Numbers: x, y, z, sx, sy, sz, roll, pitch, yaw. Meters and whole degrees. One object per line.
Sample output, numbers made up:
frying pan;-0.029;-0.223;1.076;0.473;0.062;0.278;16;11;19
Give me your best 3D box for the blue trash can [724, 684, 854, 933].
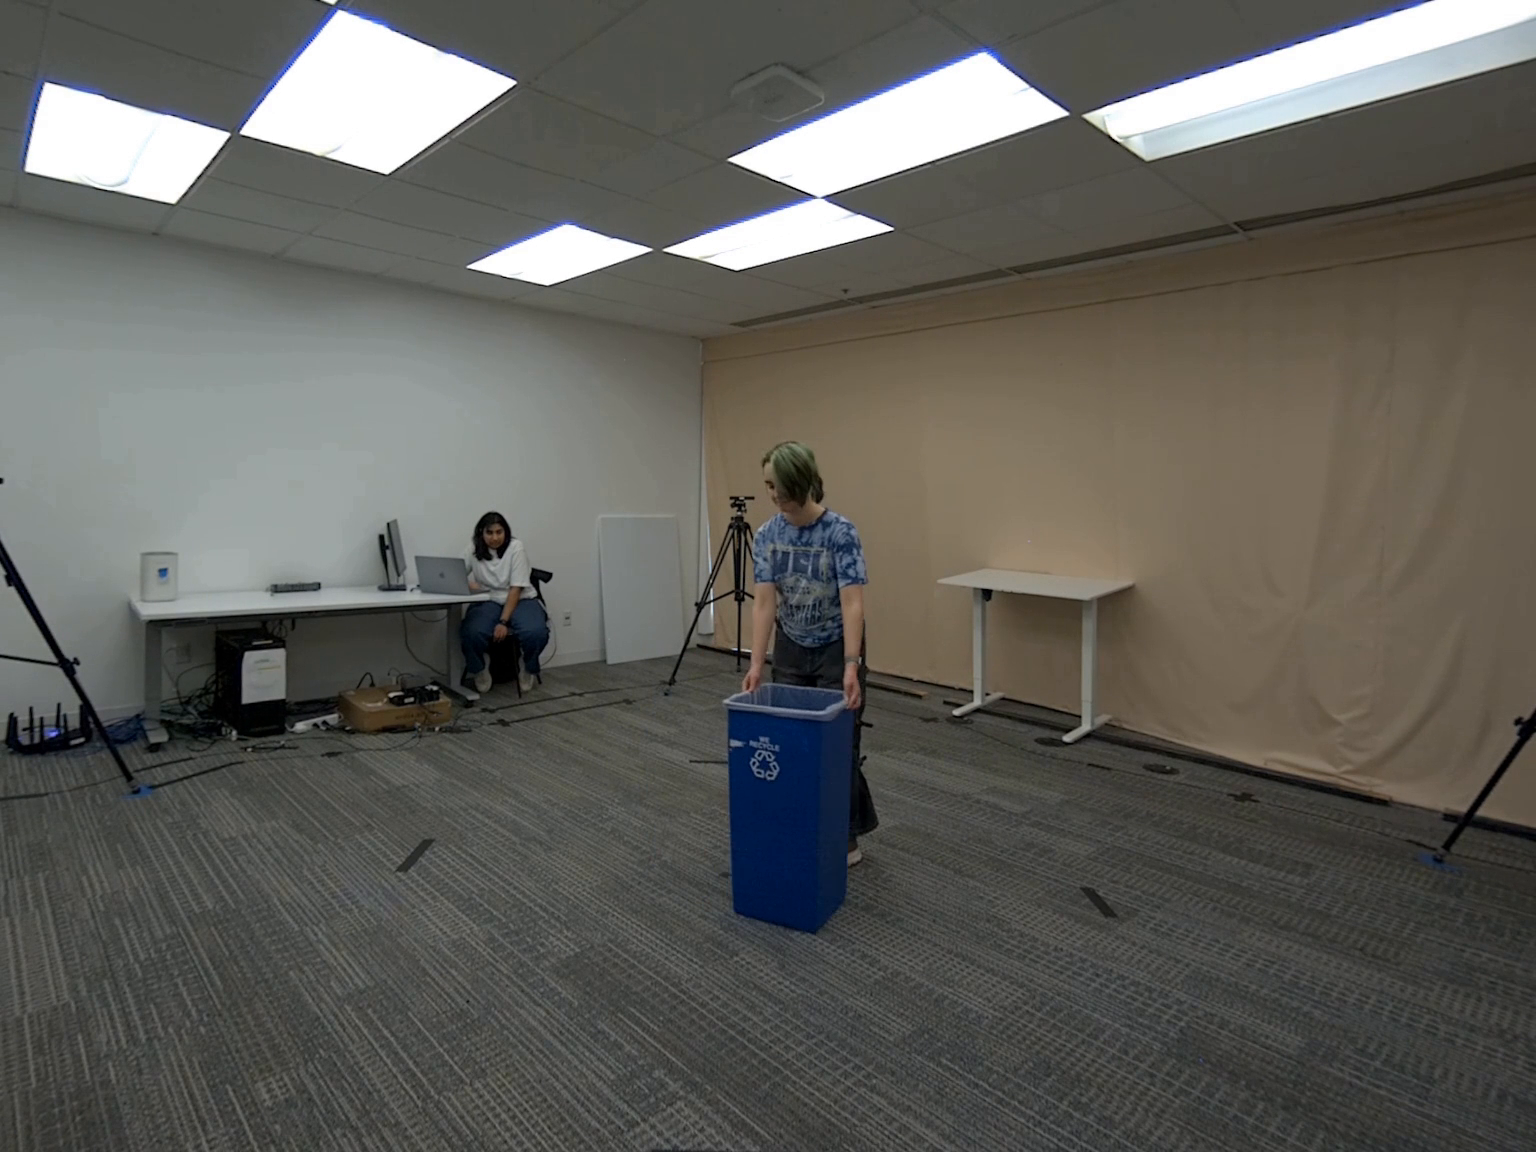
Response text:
blue trash can;0.072;0.765;2.880;0.381;0.712;0.371;1;3;27
